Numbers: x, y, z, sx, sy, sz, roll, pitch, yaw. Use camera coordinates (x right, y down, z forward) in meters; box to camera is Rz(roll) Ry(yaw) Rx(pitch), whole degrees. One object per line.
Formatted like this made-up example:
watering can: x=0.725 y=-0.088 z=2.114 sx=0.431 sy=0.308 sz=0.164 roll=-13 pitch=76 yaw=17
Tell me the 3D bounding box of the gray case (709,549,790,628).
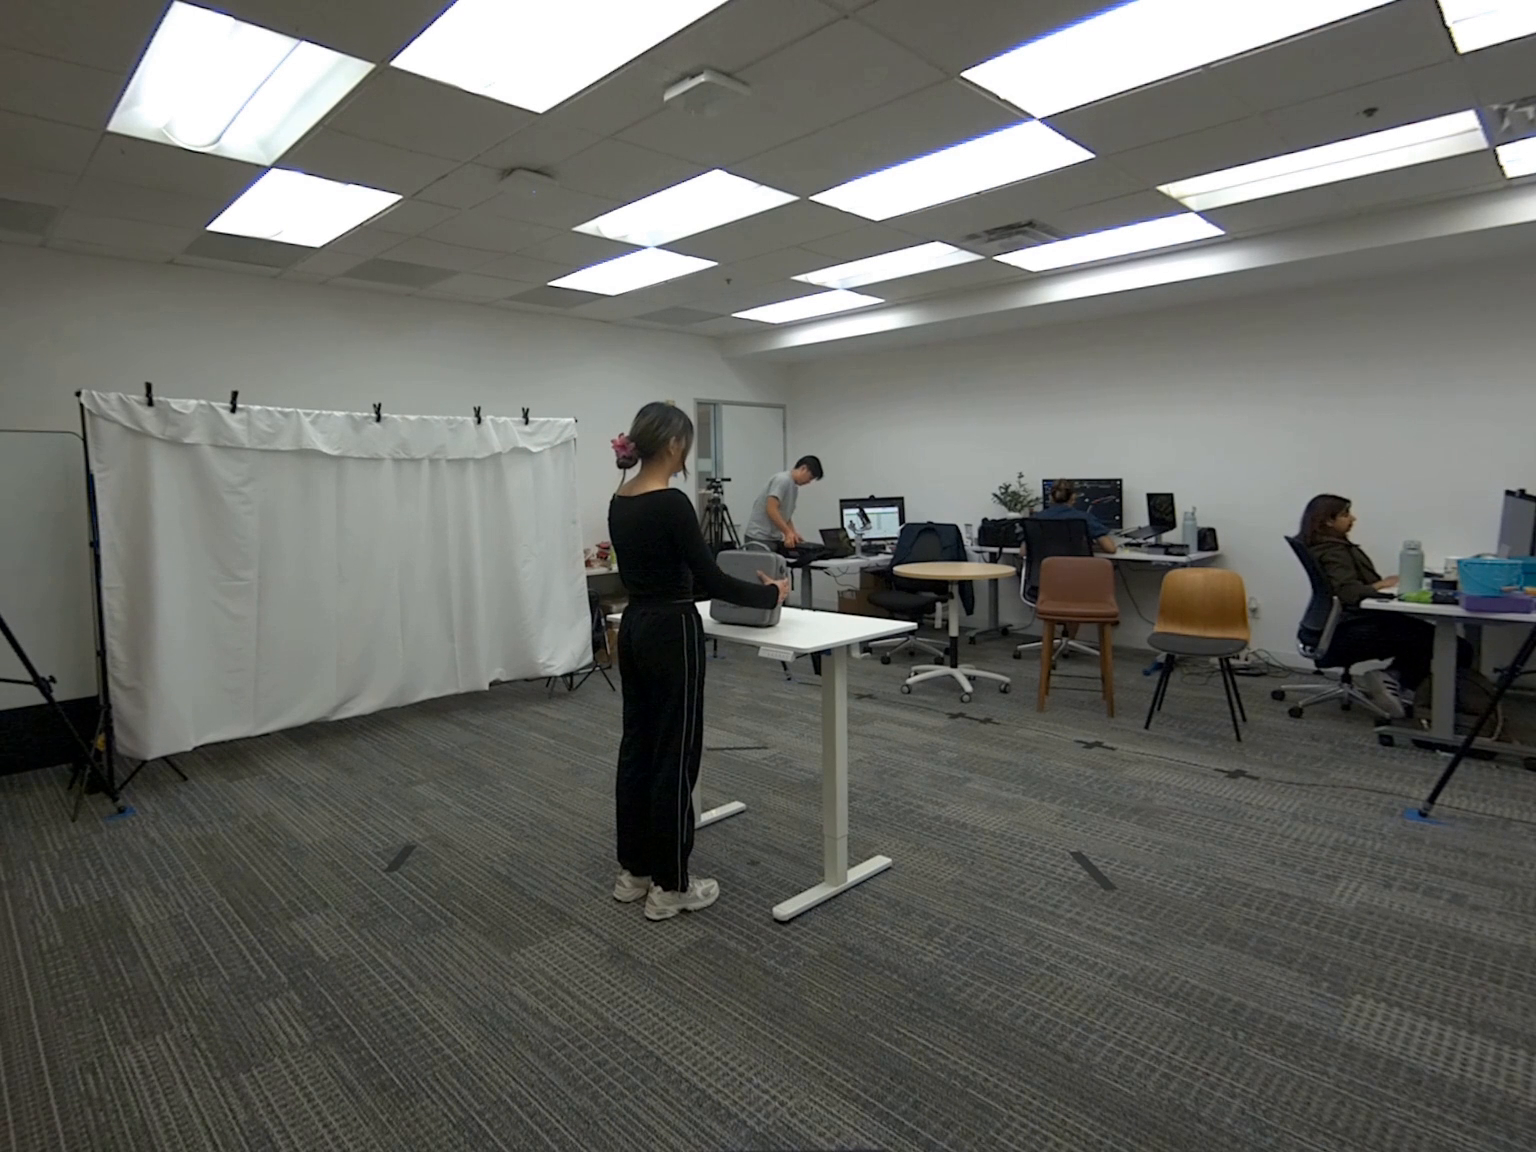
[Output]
gray case: x=-0.069 y=0.041 z=3.010 sx=0.264 sy=0.262 sz=0.101 roll=3 pitch=-9 yaw=35
